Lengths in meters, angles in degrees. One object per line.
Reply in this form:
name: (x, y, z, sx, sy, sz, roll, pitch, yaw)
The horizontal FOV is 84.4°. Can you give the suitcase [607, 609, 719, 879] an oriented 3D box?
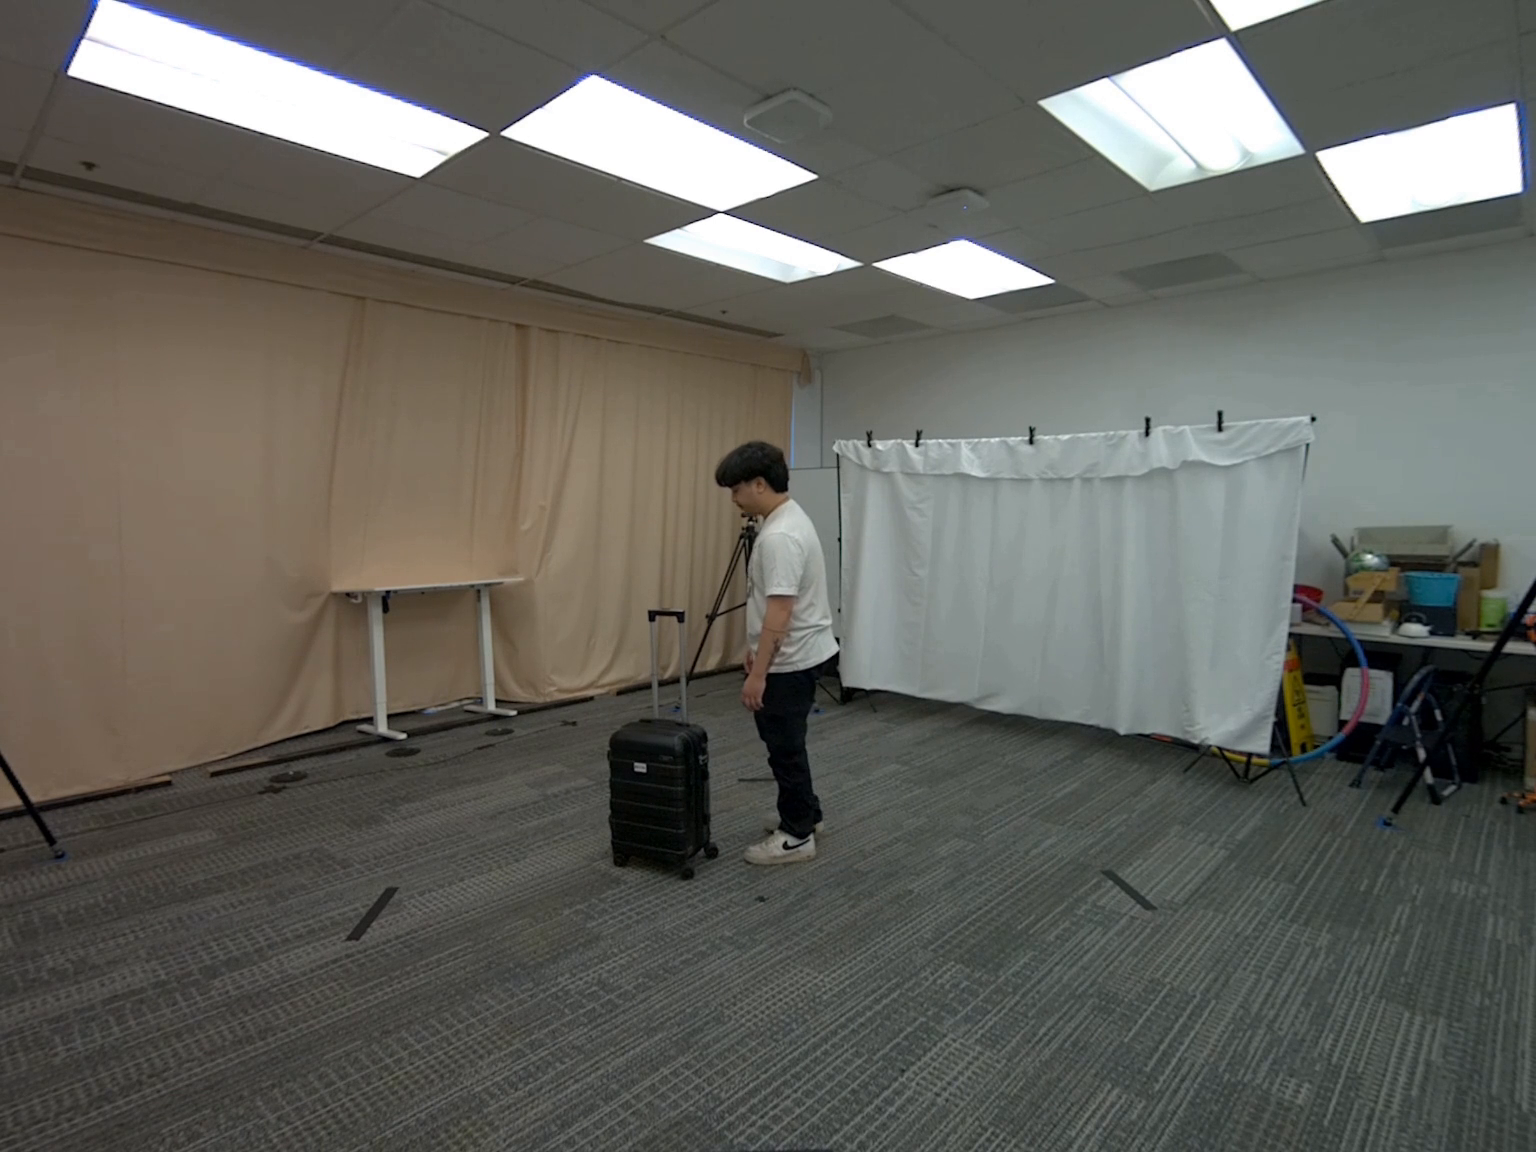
suitcase: (-0.429, 0.649, 3.268, 0.393, 0.975, 0.252, -1, 5, 24)
